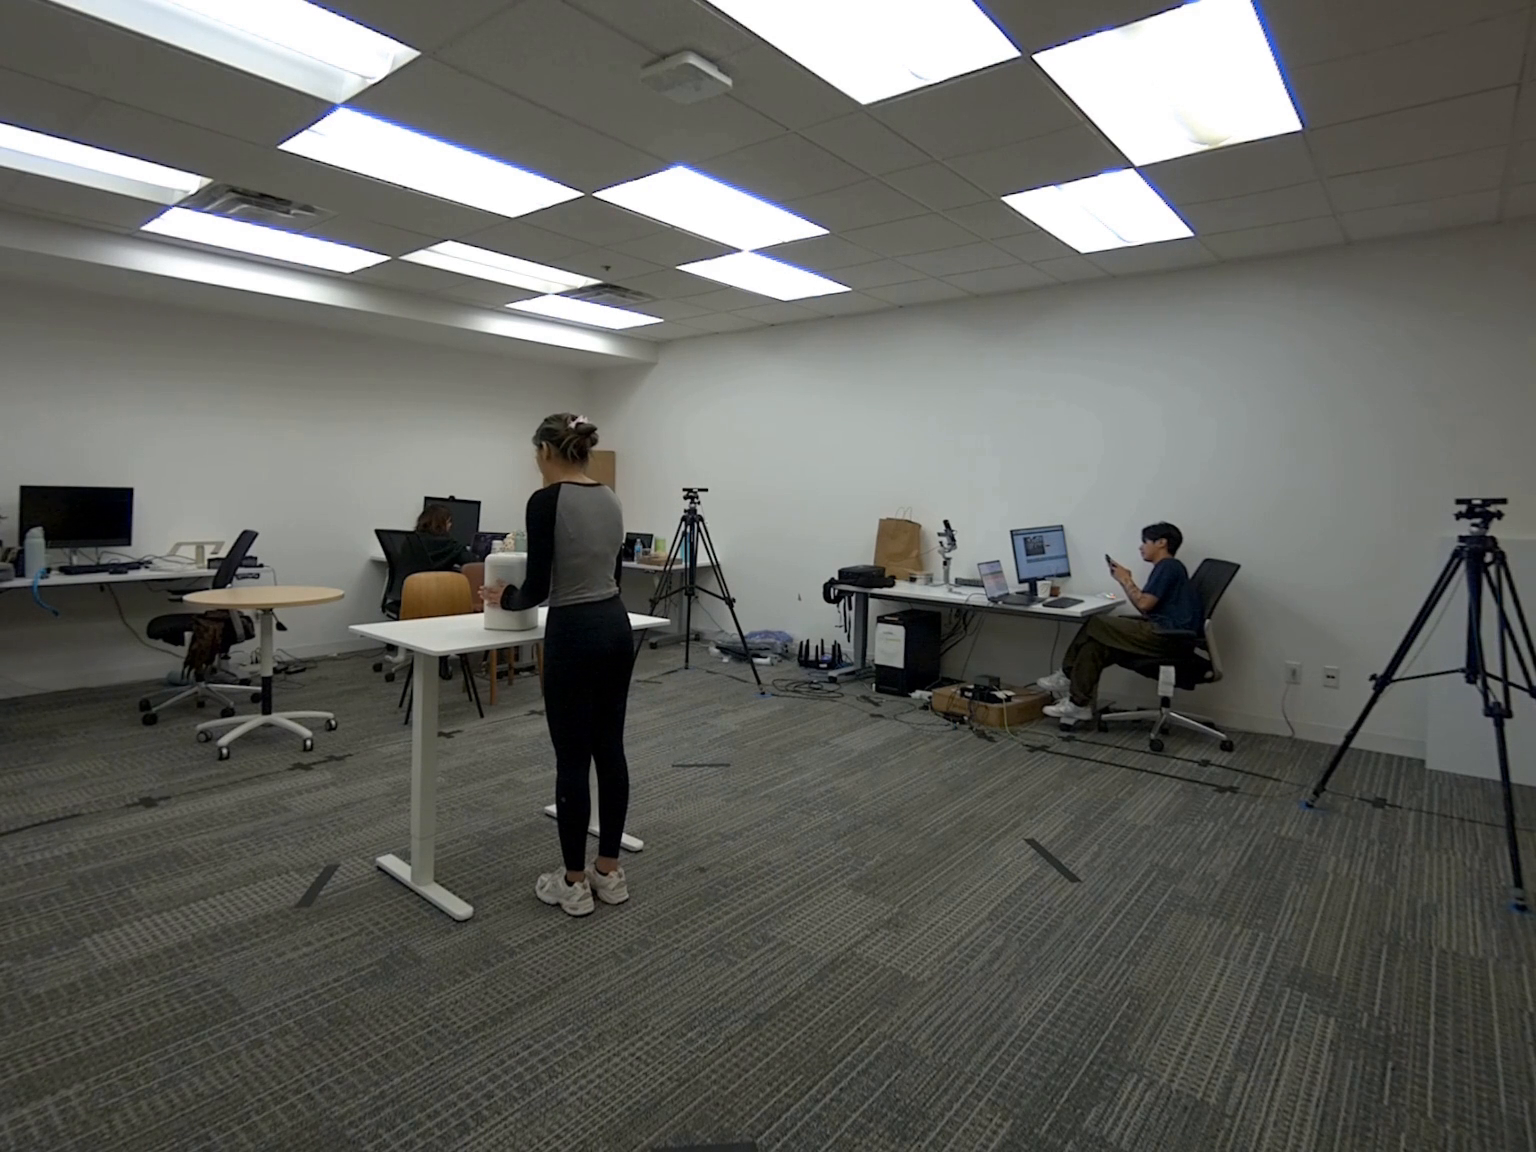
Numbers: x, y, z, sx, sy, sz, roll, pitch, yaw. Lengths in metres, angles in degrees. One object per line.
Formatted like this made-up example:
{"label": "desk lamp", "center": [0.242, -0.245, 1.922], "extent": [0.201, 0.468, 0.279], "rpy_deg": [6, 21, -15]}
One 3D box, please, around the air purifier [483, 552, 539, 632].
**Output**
{"label": "air purifier", "center": [-0.932, 0.049, 3.040], "extent": [0.173, 0.264, 0.170], "rpy_deg": [4, 4, 5]}
